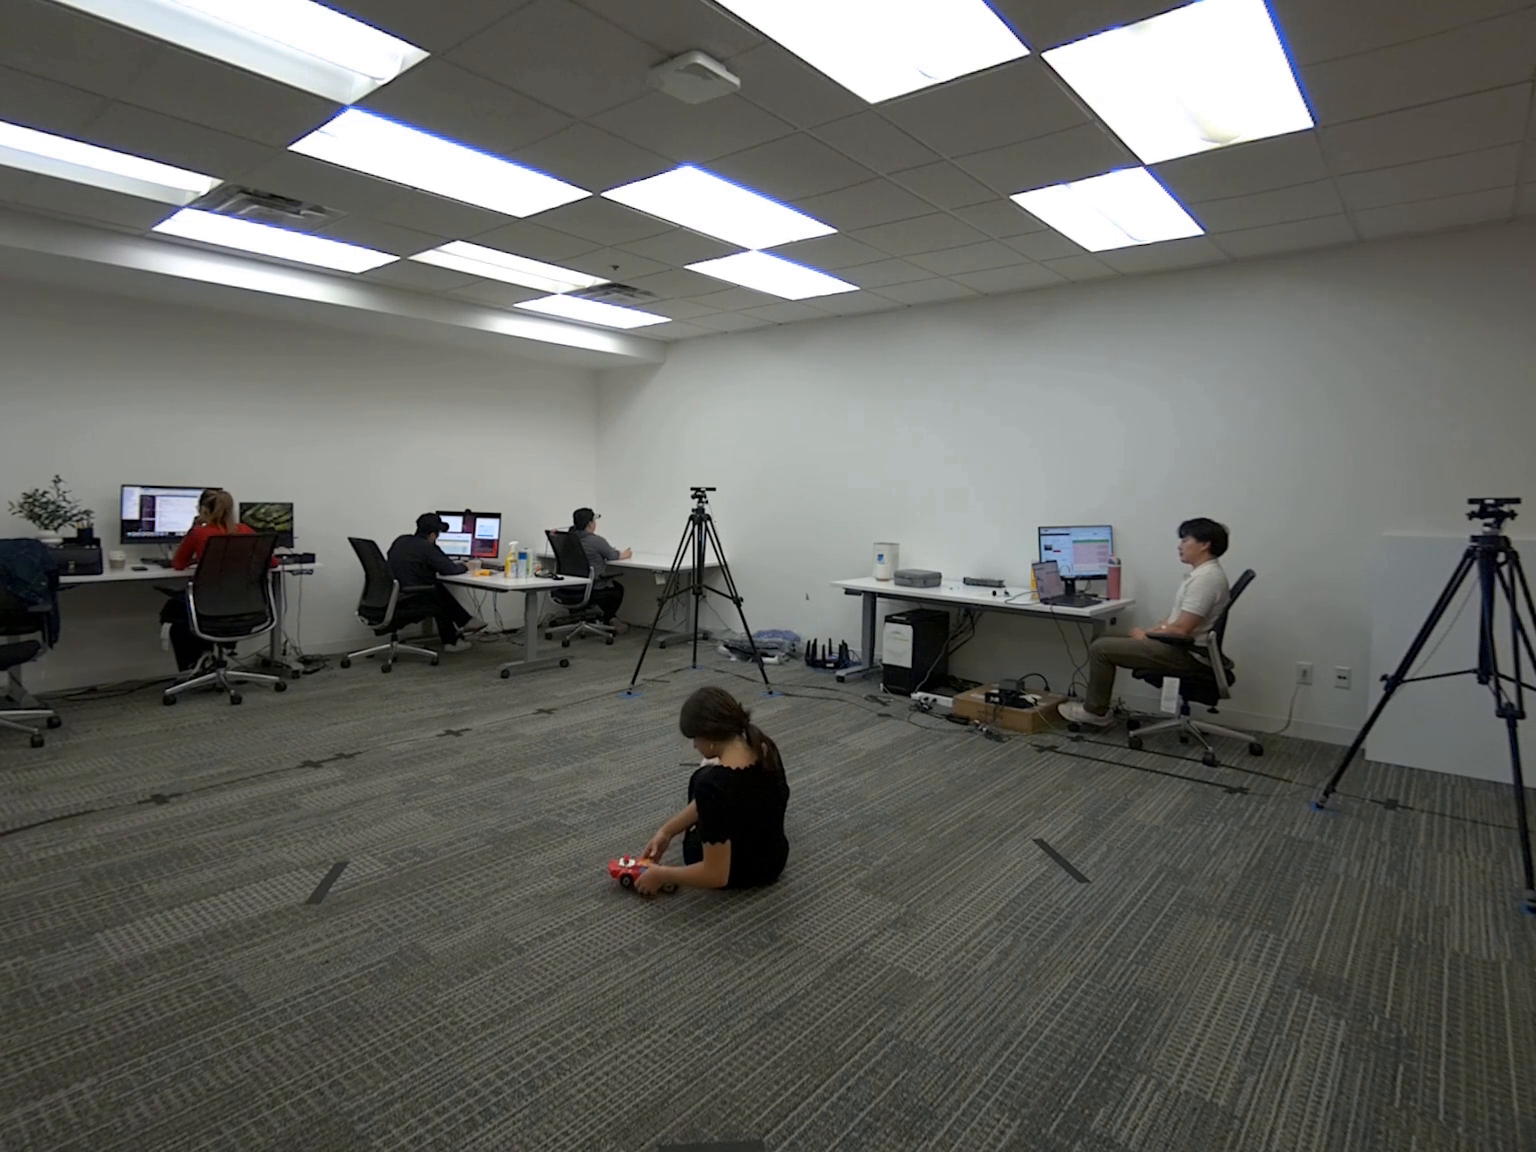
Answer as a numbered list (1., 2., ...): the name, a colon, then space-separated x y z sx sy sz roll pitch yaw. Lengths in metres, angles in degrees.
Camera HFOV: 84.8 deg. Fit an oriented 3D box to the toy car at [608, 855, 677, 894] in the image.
1. toy car: -0.449 1.022 2.960 0.254 0.083 0.131 19 1 -3
